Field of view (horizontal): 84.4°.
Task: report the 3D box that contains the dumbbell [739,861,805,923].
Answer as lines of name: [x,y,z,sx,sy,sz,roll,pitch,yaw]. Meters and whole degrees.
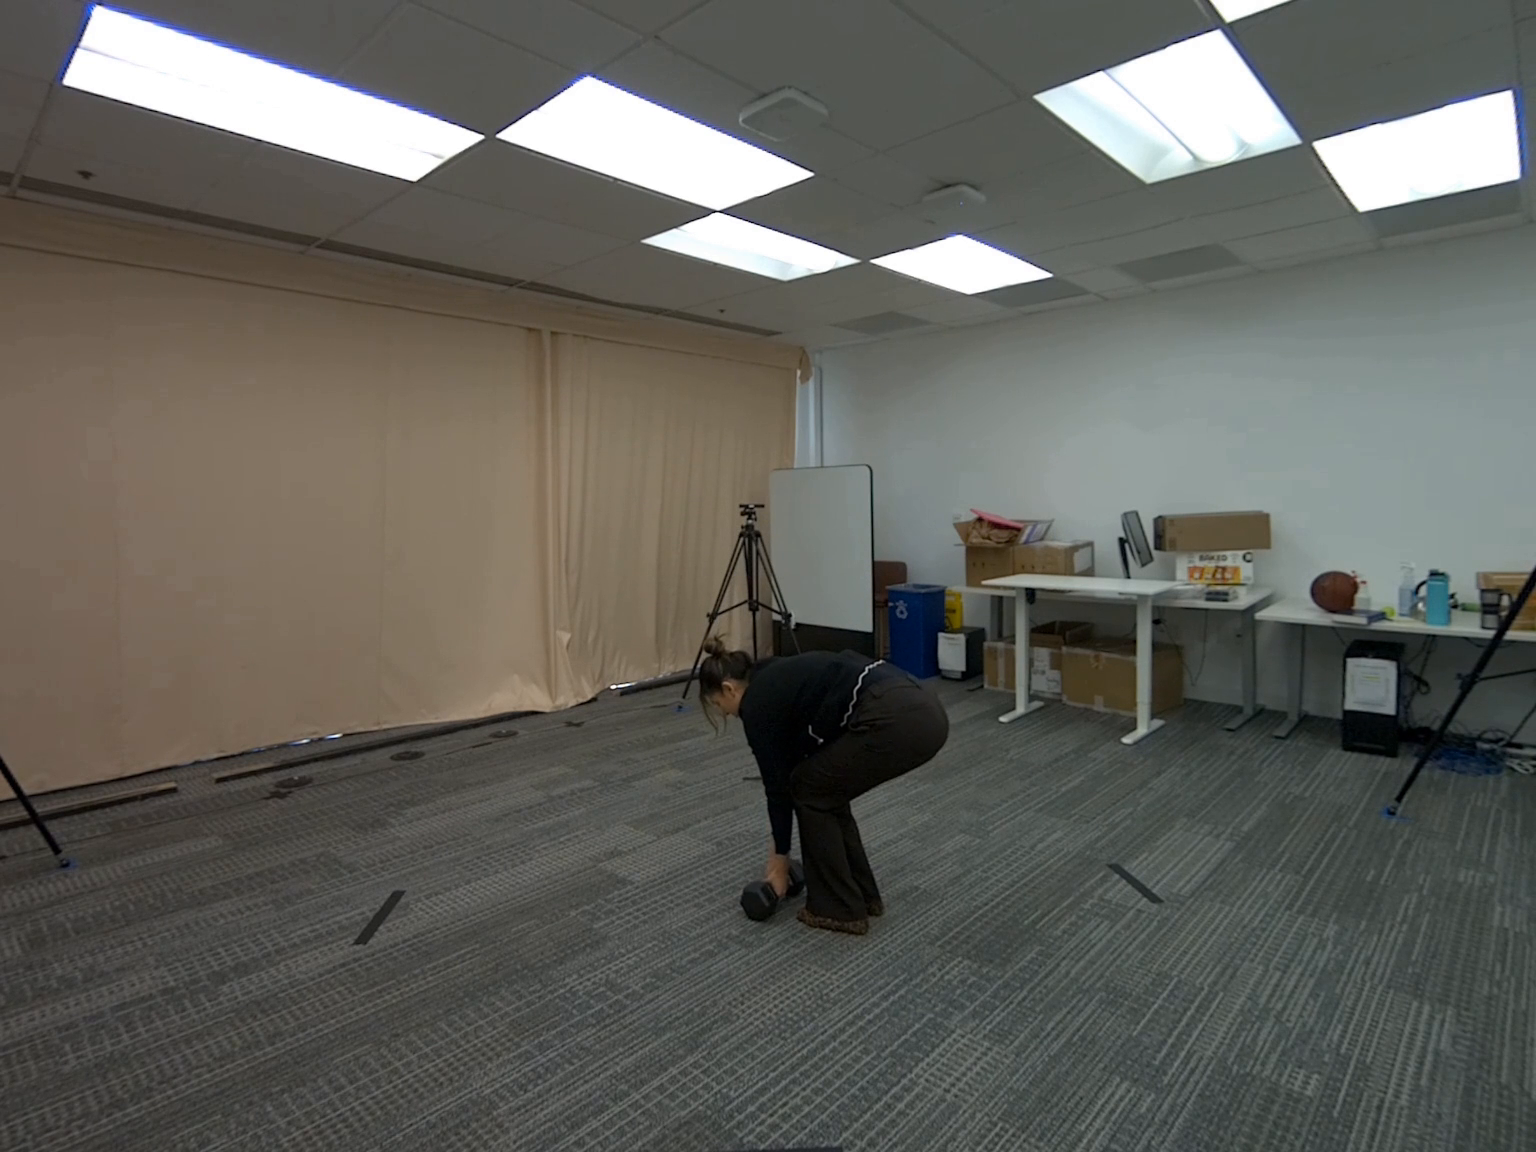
dumbbell: [0.033,1.093,2.927,0.126,0.109,0.286,-10,-1,32]
